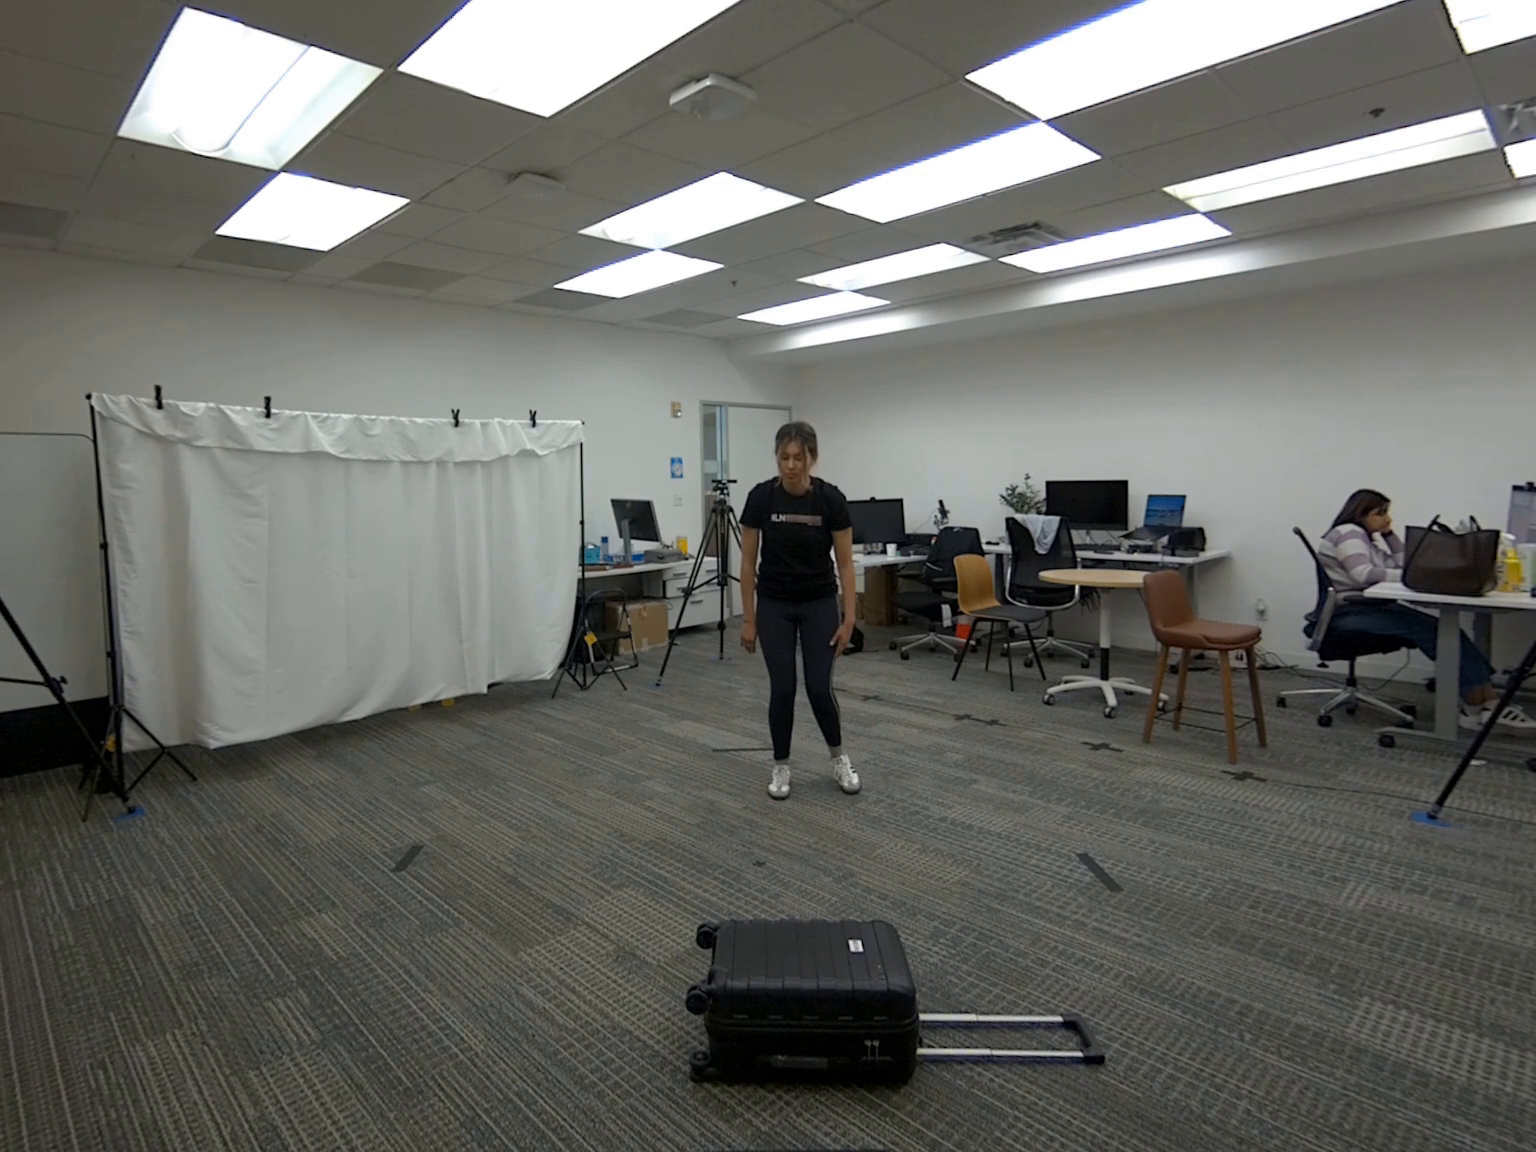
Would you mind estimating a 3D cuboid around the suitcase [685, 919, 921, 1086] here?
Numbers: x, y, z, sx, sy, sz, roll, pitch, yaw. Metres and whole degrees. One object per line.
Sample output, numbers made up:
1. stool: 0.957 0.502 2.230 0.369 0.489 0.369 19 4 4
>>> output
1. suitcase: 0.300 1.038 2.103 0.981 0.256 0.384 -3 4 2
